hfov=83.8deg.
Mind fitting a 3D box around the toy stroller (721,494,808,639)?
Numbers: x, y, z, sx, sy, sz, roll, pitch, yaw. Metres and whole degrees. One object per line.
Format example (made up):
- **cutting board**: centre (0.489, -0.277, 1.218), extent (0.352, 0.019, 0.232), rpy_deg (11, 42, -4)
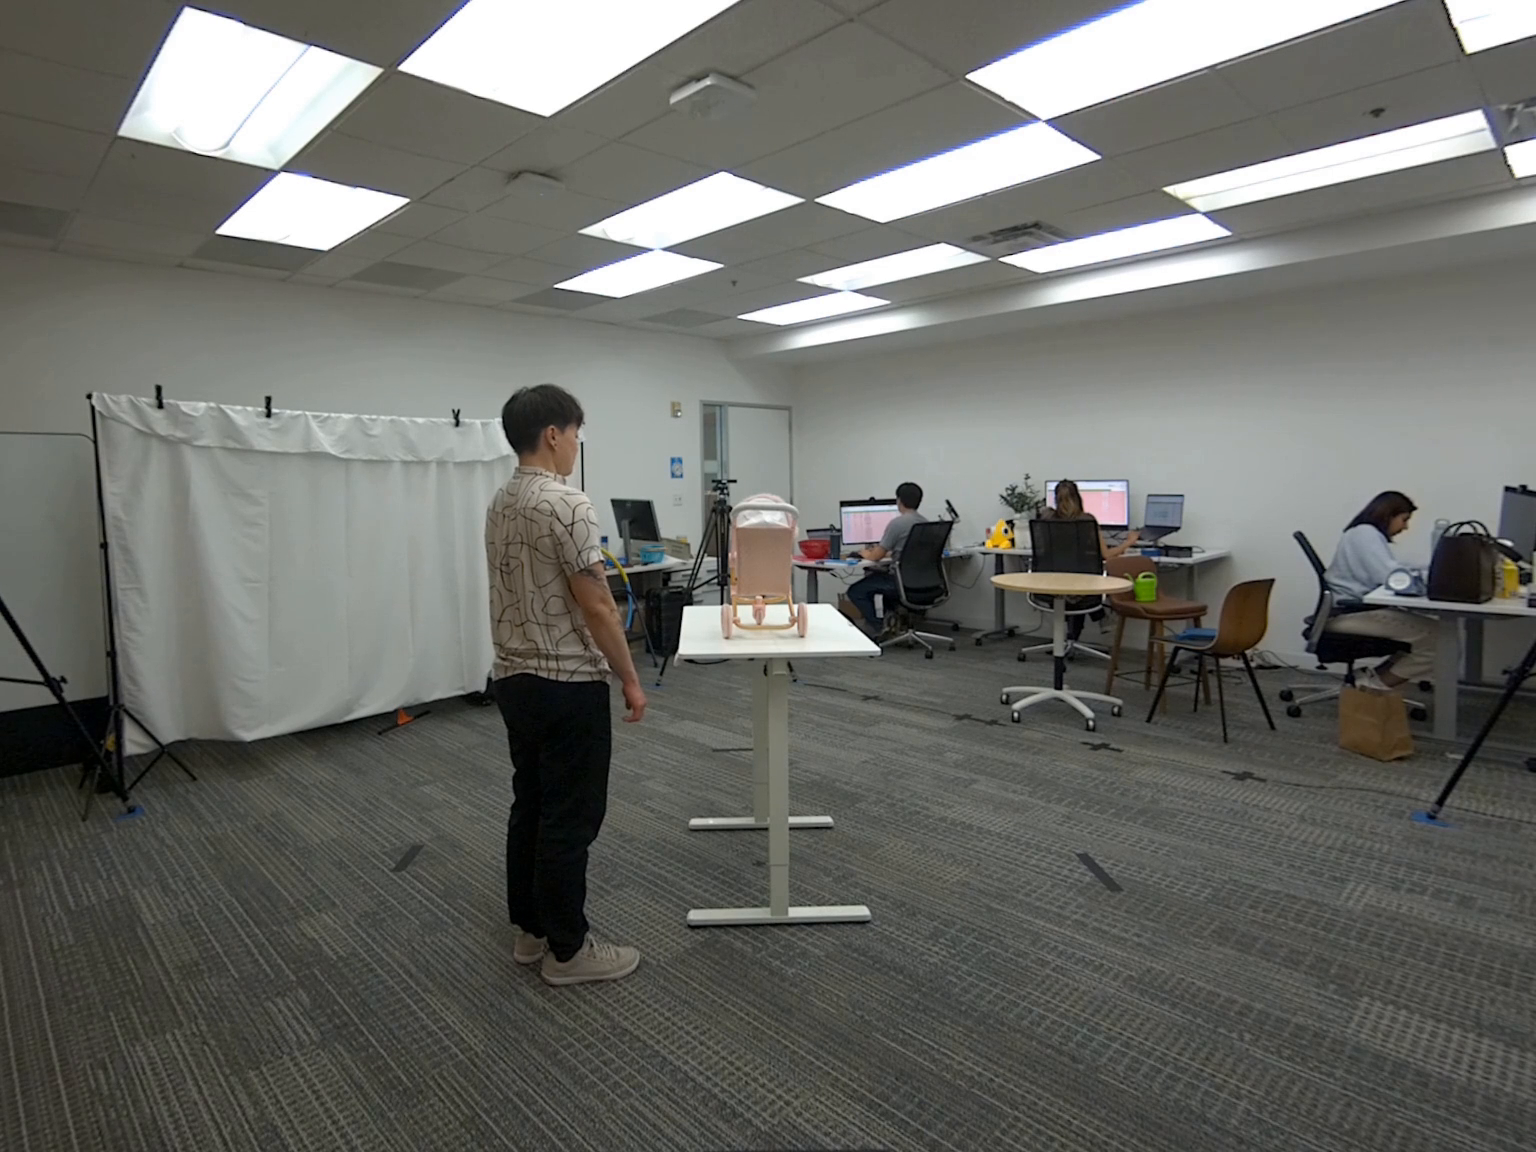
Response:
- **toy stroller**: centre (-0.015, -0.031, 2.837), extent (0.282, 0.526, 0.346), rpy_deg (0, 19, 1)
